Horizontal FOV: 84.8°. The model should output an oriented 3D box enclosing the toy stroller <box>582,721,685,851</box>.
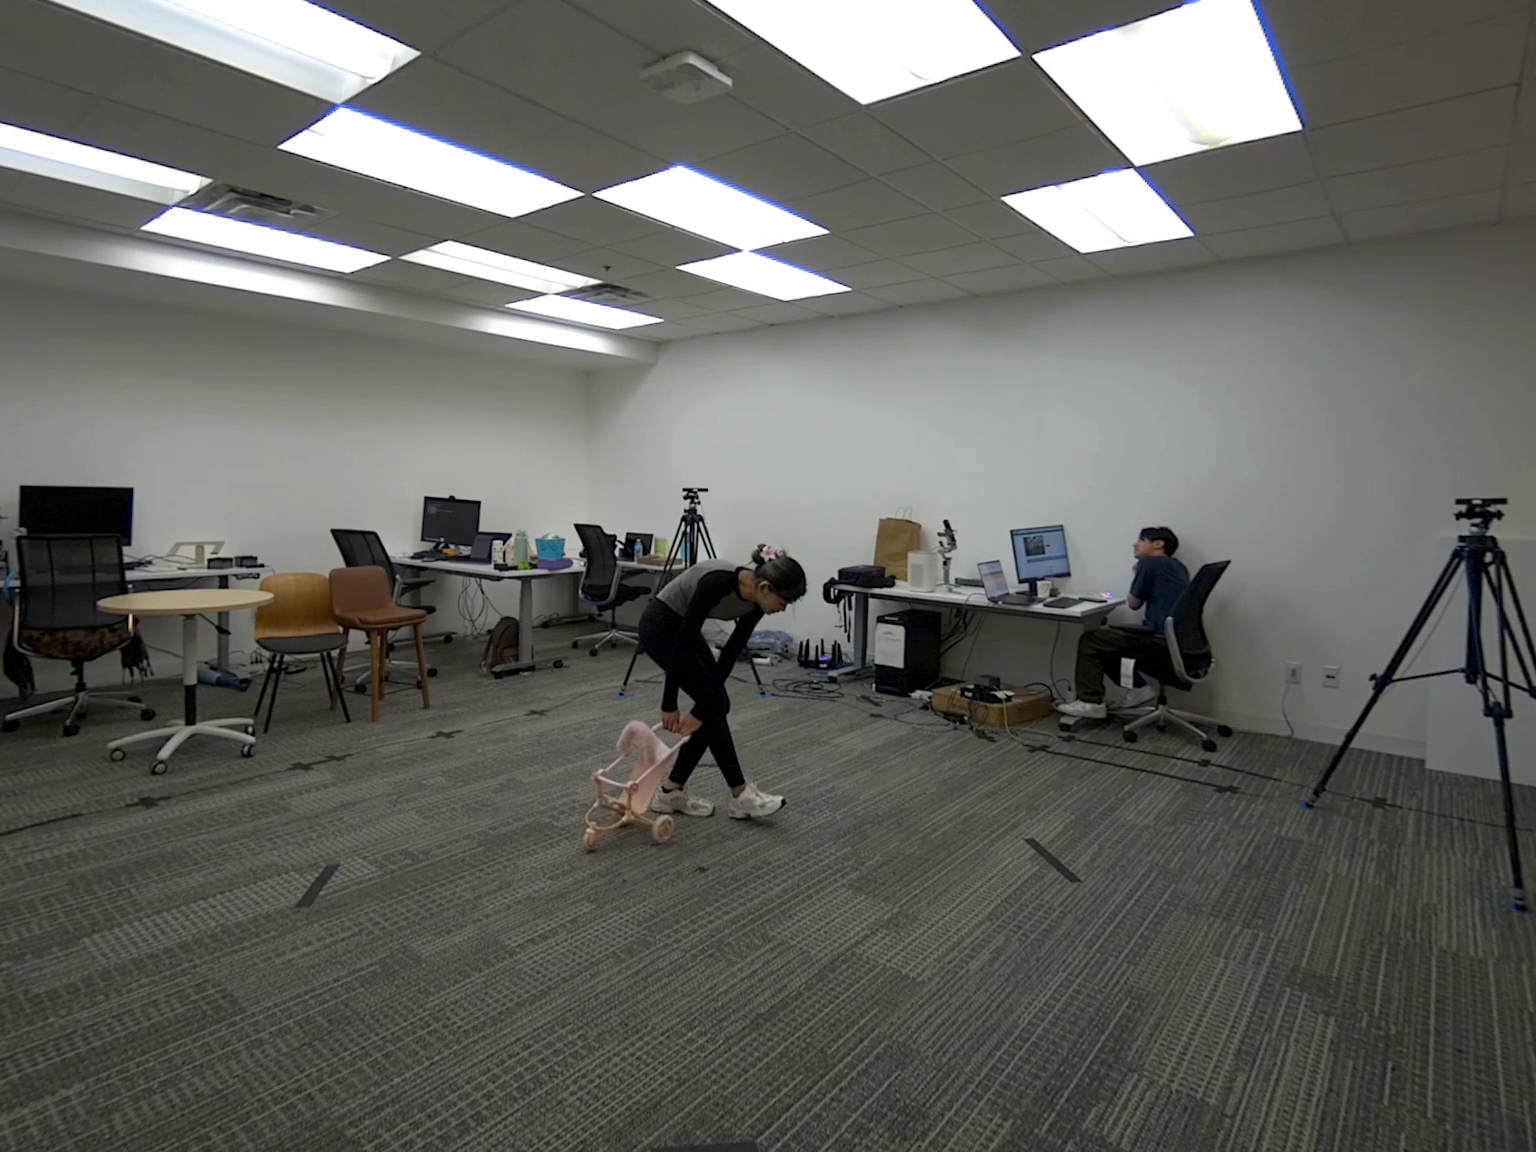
[{"bbox_3d":[-0.550,0.813,3.377,0.328,0.538,0.291,23,-13,-41],"label":"toy stroller"}]
